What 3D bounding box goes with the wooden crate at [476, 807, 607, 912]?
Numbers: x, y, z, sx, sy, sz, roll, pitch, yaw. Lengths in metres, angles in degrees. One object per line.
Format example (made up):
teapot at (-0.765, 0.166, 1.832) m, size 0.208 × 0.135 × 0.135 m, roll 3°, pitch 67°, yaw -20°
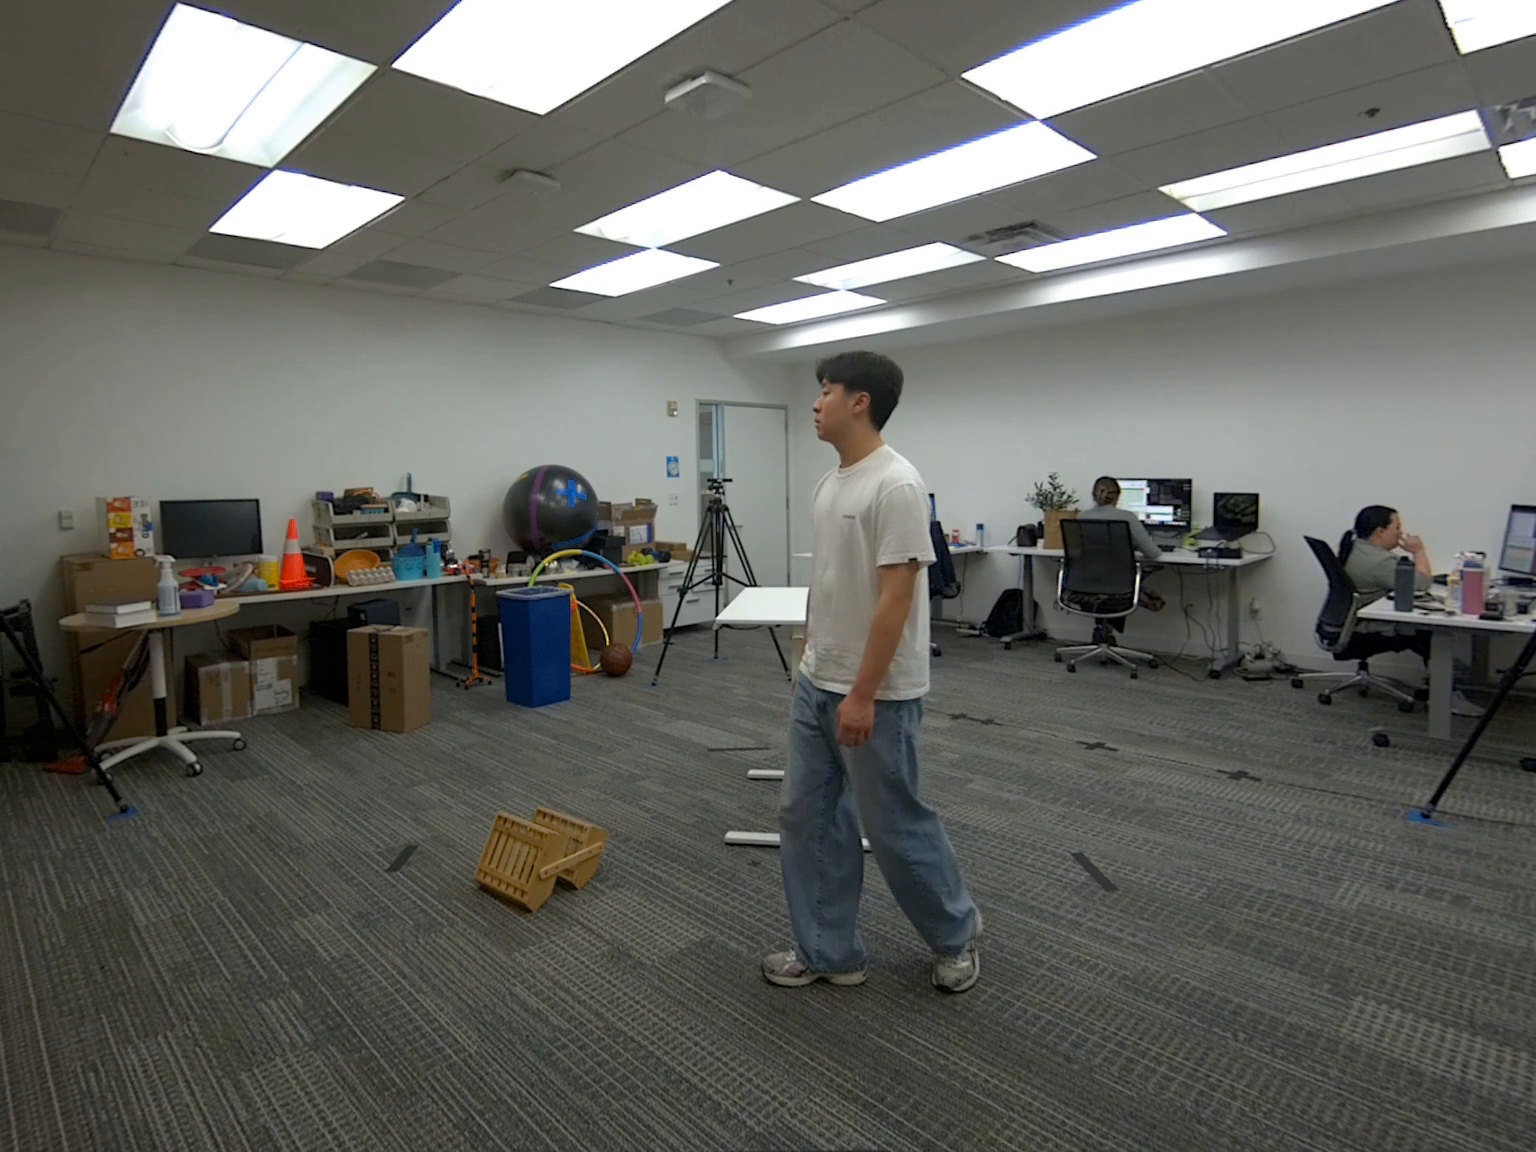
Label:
wooden crate at (-0.791, 0.984, 2.991) m, size 0.334 × 0.305 × 0.263 m, roll 3°, pitch -21°, yaw 39°
